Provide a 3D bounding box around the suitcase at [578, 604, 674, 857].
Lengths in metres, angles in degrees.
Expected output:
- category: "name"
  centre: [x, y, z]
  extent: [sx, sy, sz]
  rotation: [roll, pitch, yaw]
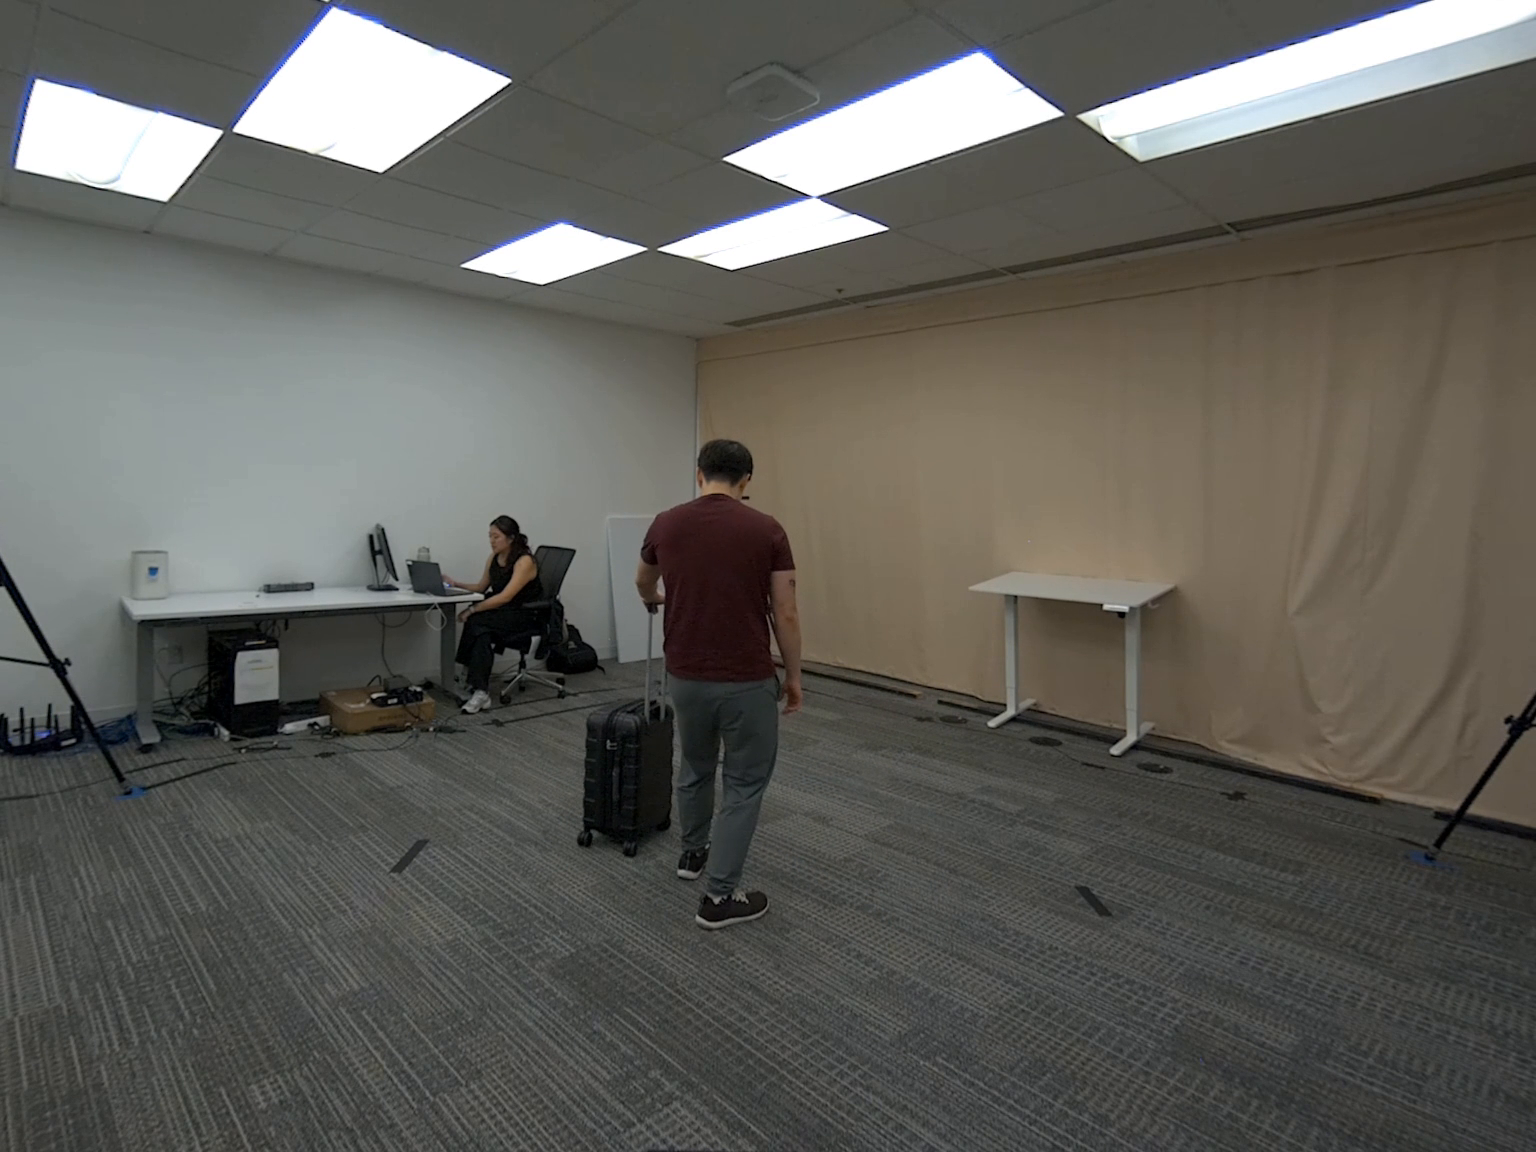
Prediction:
- category: "suitcase"
  centre: [-0.572, 0.588, 3.432]
  extent: [0.261, 0.978, 0.378]
  rotation: [1, 1, 21]
